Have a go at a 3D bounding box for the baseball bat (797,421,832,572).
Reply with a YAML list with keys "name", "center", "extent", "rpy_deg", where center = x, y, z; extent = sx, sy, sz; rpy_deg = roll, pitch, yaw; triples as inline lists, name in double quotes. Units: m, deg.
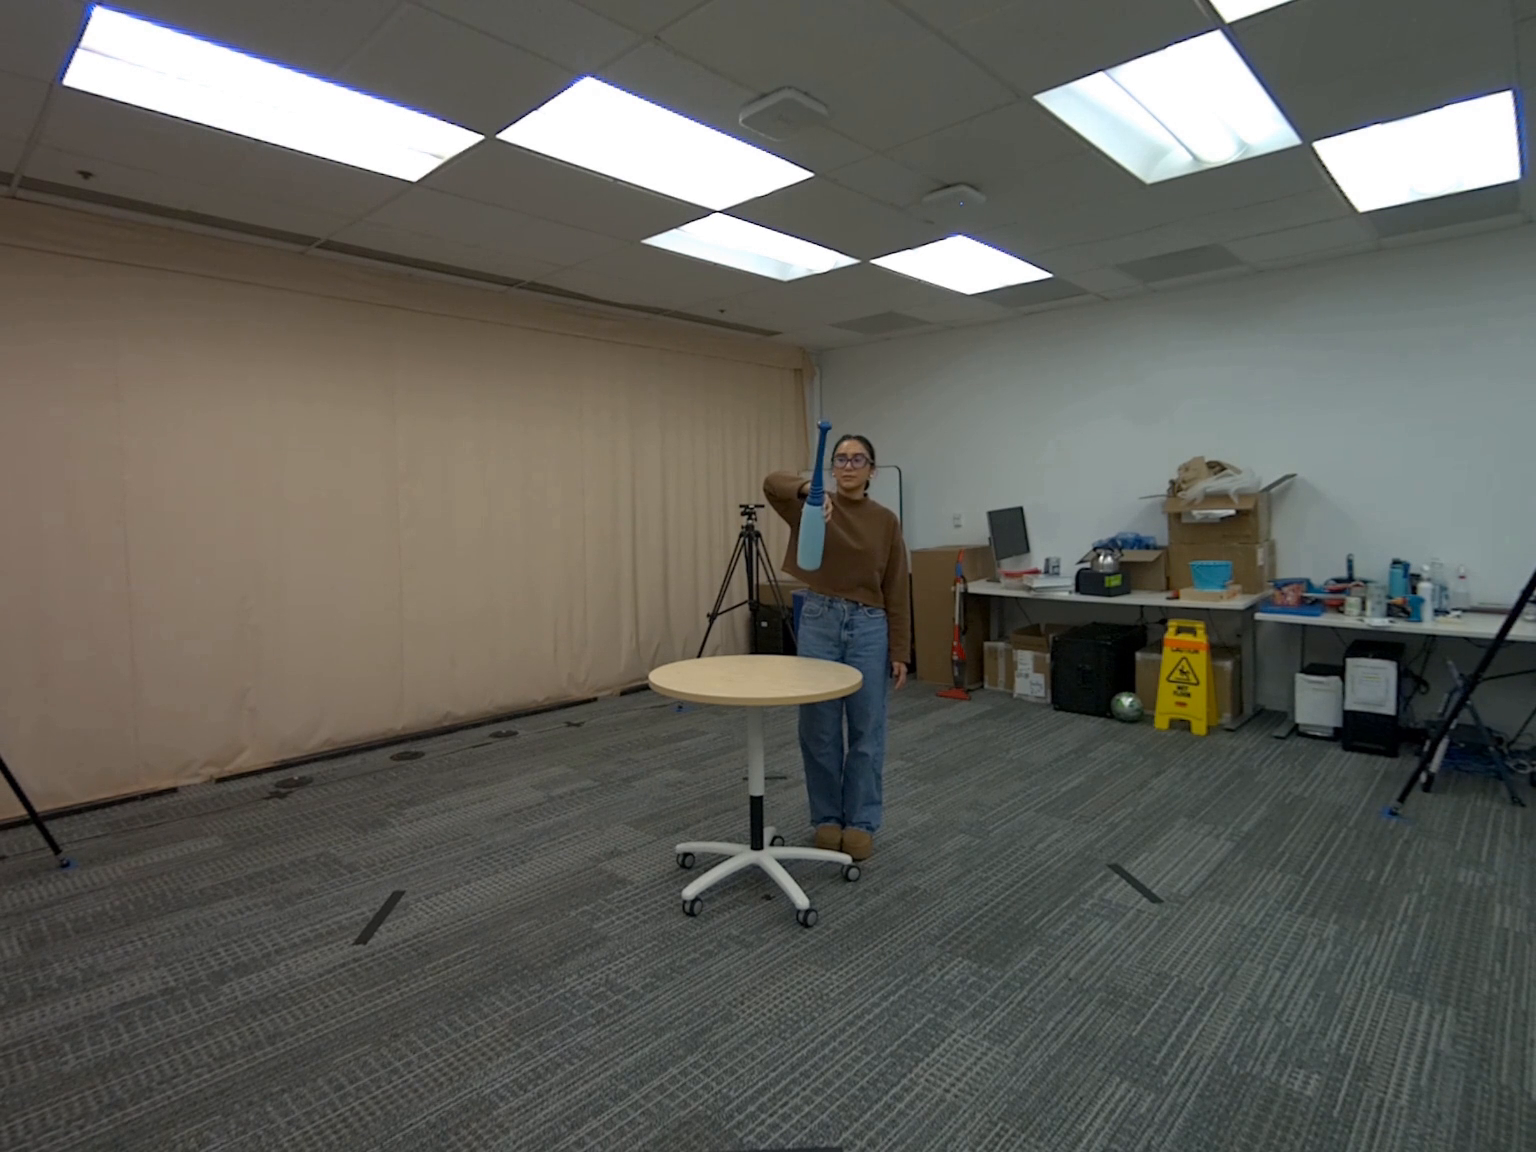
- name: "baseball bat"
  center: [0.164, -0.271, 2.910]
  extent: [0.089, 0.536, 0.090]
  rpy_deg: [3, 26, -3]
